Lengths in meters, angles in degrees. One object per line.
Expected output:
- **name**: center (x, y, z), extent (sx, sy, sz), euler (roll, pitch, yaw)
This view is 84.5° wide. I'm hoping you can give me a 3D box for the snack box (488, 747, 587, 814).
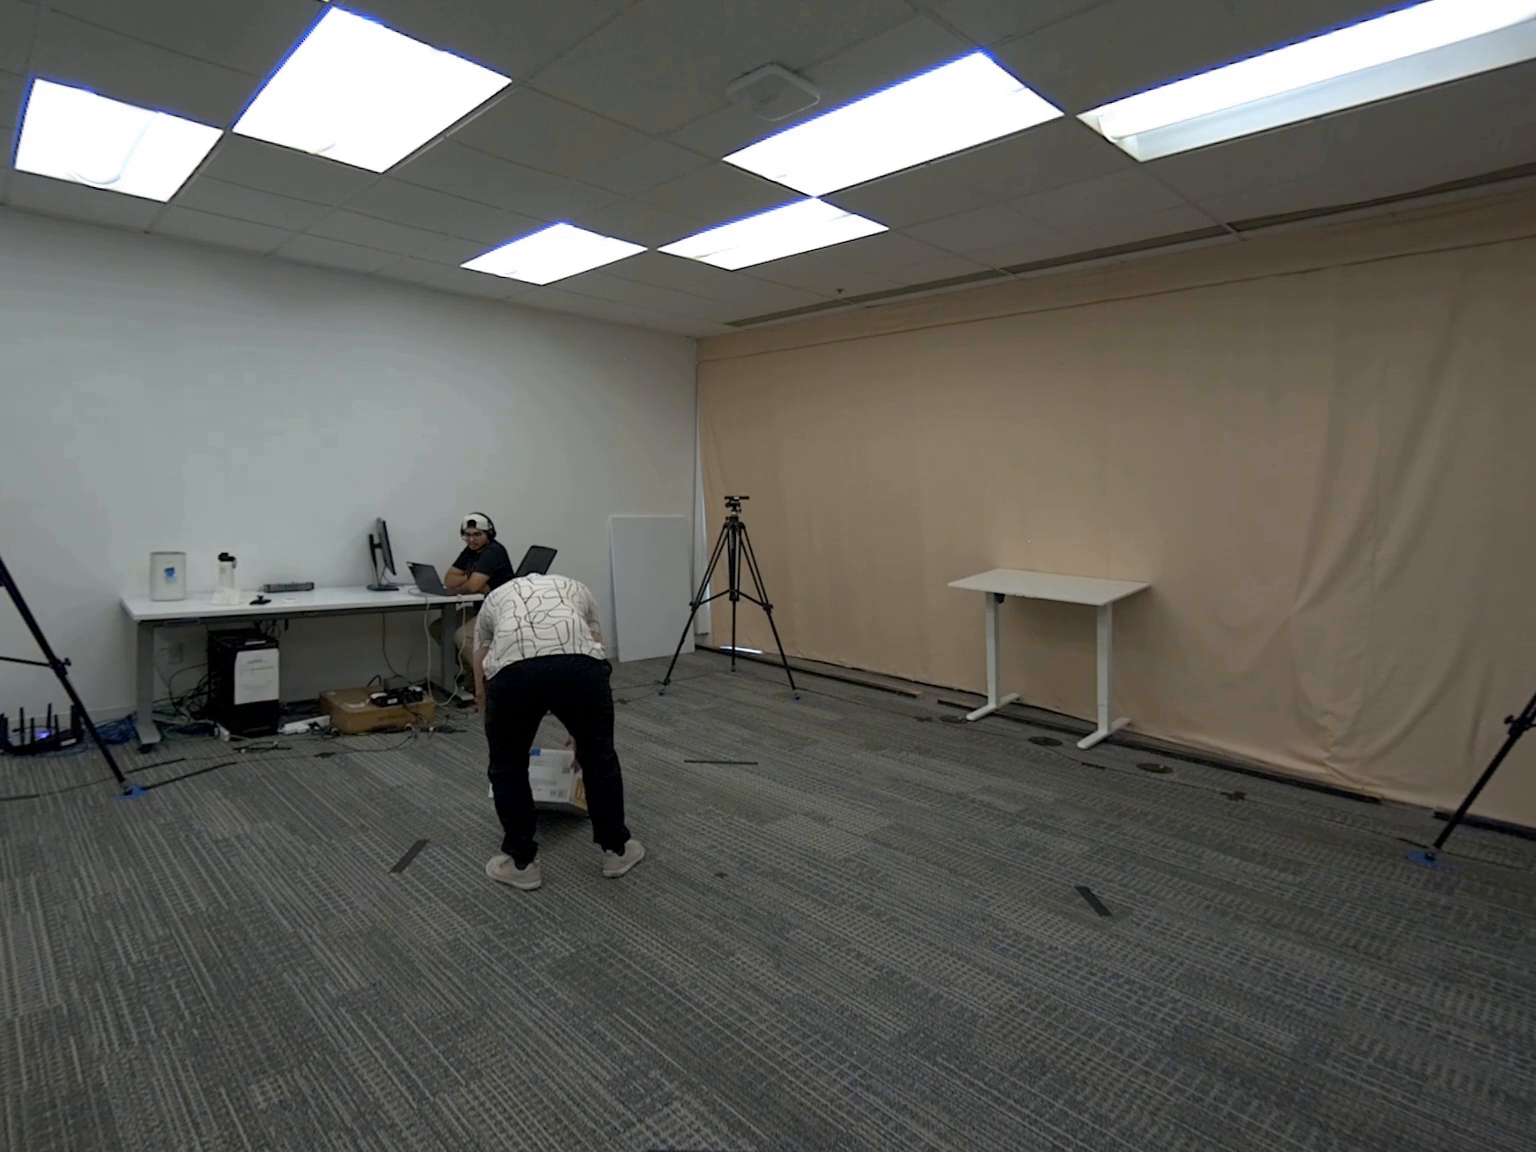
- **snack box**: center (-0.925, 0.867, 3.538), extent (0.343, 0.208, 0.396), euler (1, -22, 8)
